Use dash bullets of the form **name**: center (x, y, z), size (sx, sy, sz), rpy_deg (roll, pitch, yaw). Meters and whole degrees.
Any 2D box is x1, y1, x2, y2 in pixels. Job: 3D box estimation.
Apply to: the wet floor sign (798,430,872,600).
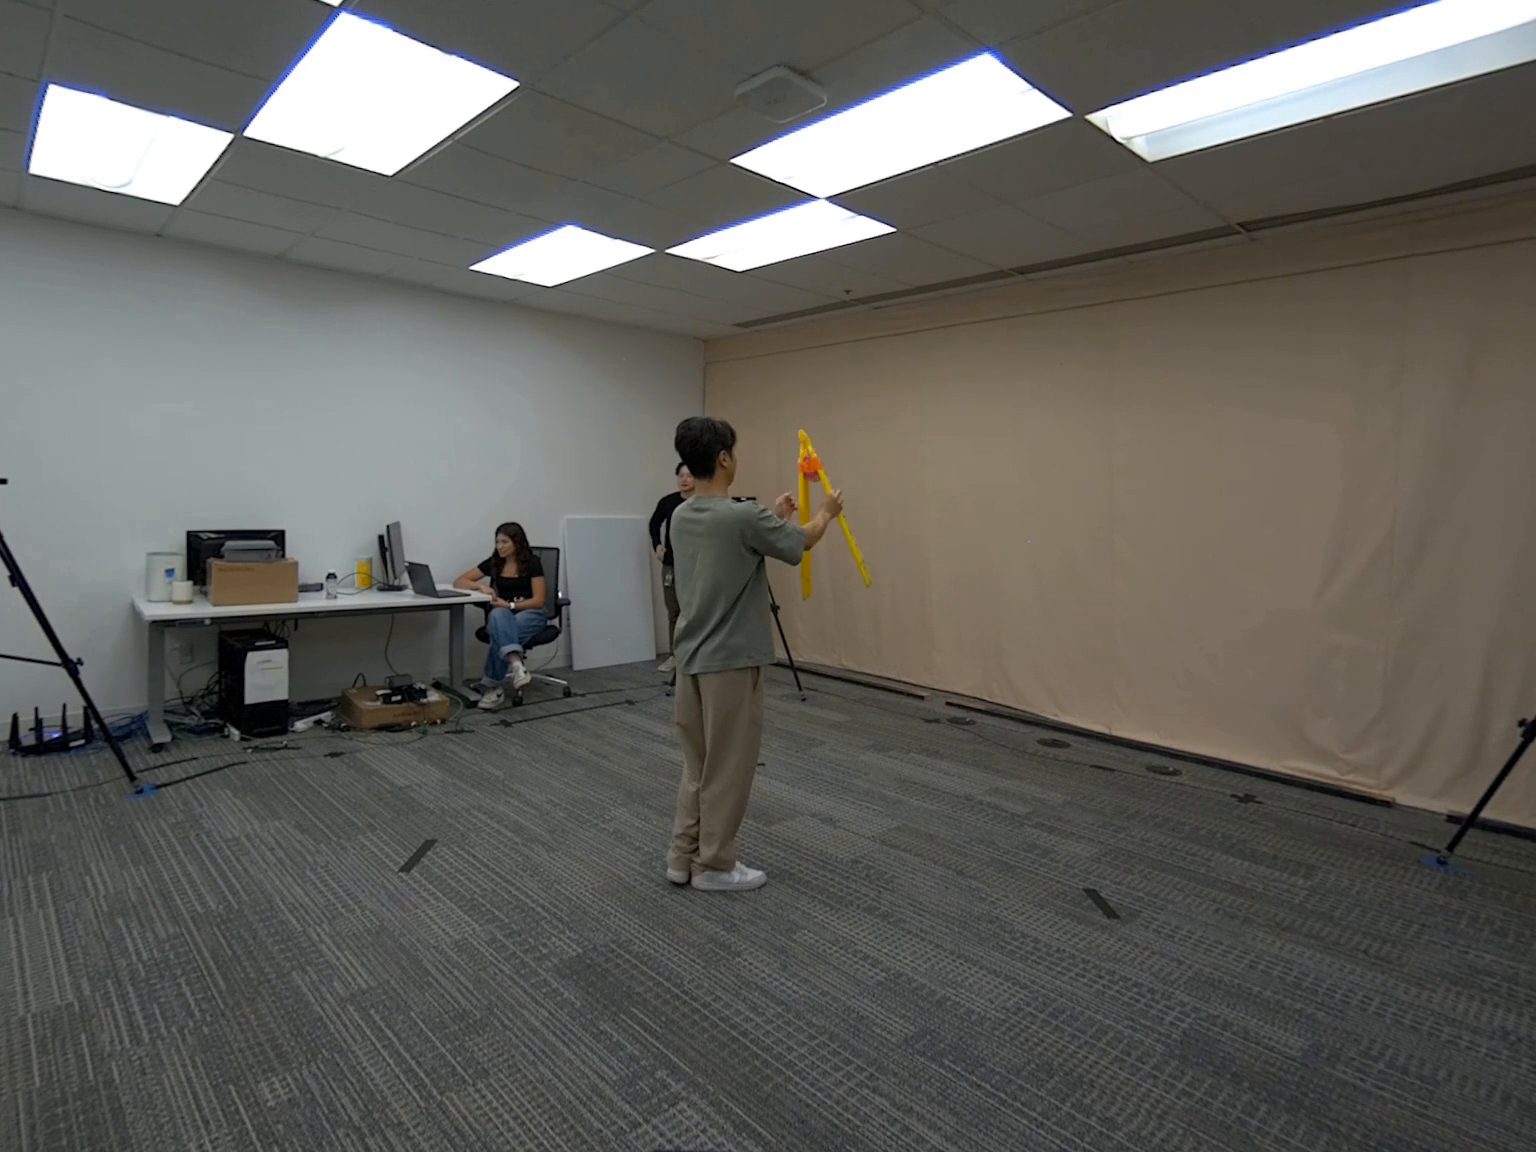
- **wet floor sign**: center (0.200, -0.252, 3.335), size (0.291, 0.649, 0.279), rpy_deg (-13, -5, 9)
